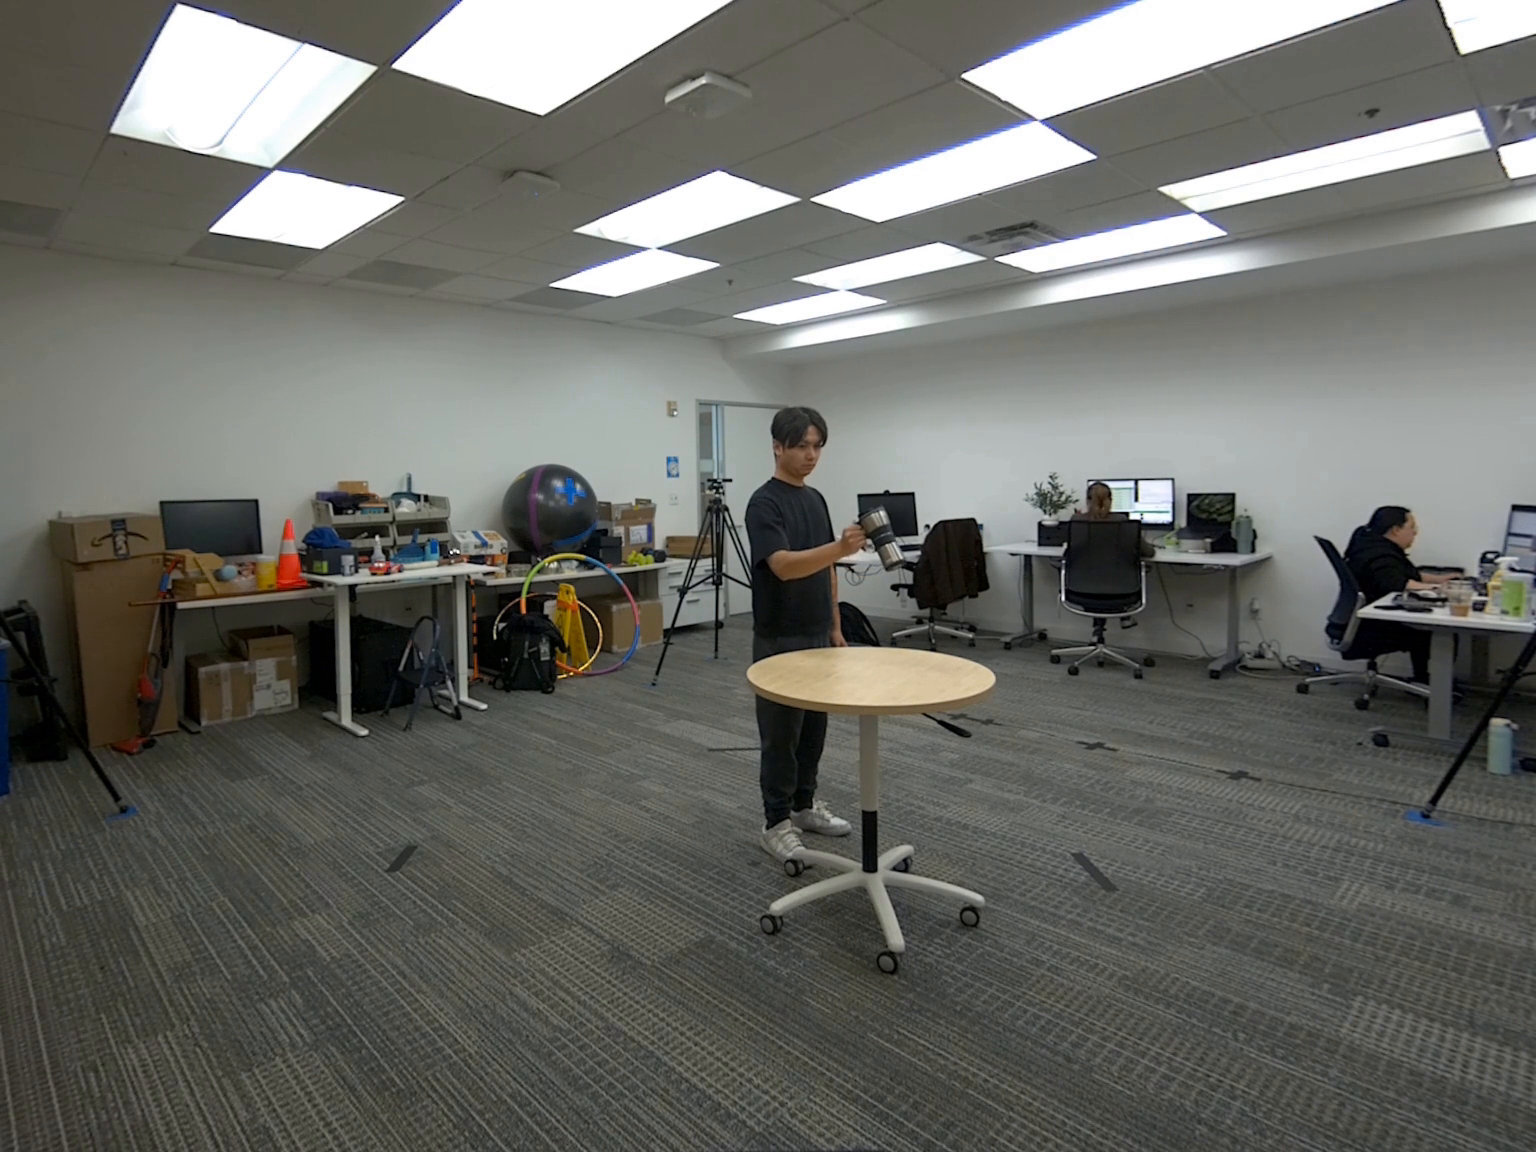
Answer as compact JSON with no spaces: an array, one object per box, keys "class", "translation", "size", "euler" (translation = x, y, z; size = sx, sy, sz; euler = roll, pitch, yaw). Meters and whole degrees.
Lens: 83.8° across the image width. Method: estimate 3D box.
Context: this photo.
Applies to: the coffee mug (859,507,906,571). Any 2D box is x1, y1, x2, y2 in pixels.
[{"class":"coffee mug","translation":[0.356,-0.110,2.713],"size":[0.086,0.206,0.122],"euler":[-13,-16,-31]}]
